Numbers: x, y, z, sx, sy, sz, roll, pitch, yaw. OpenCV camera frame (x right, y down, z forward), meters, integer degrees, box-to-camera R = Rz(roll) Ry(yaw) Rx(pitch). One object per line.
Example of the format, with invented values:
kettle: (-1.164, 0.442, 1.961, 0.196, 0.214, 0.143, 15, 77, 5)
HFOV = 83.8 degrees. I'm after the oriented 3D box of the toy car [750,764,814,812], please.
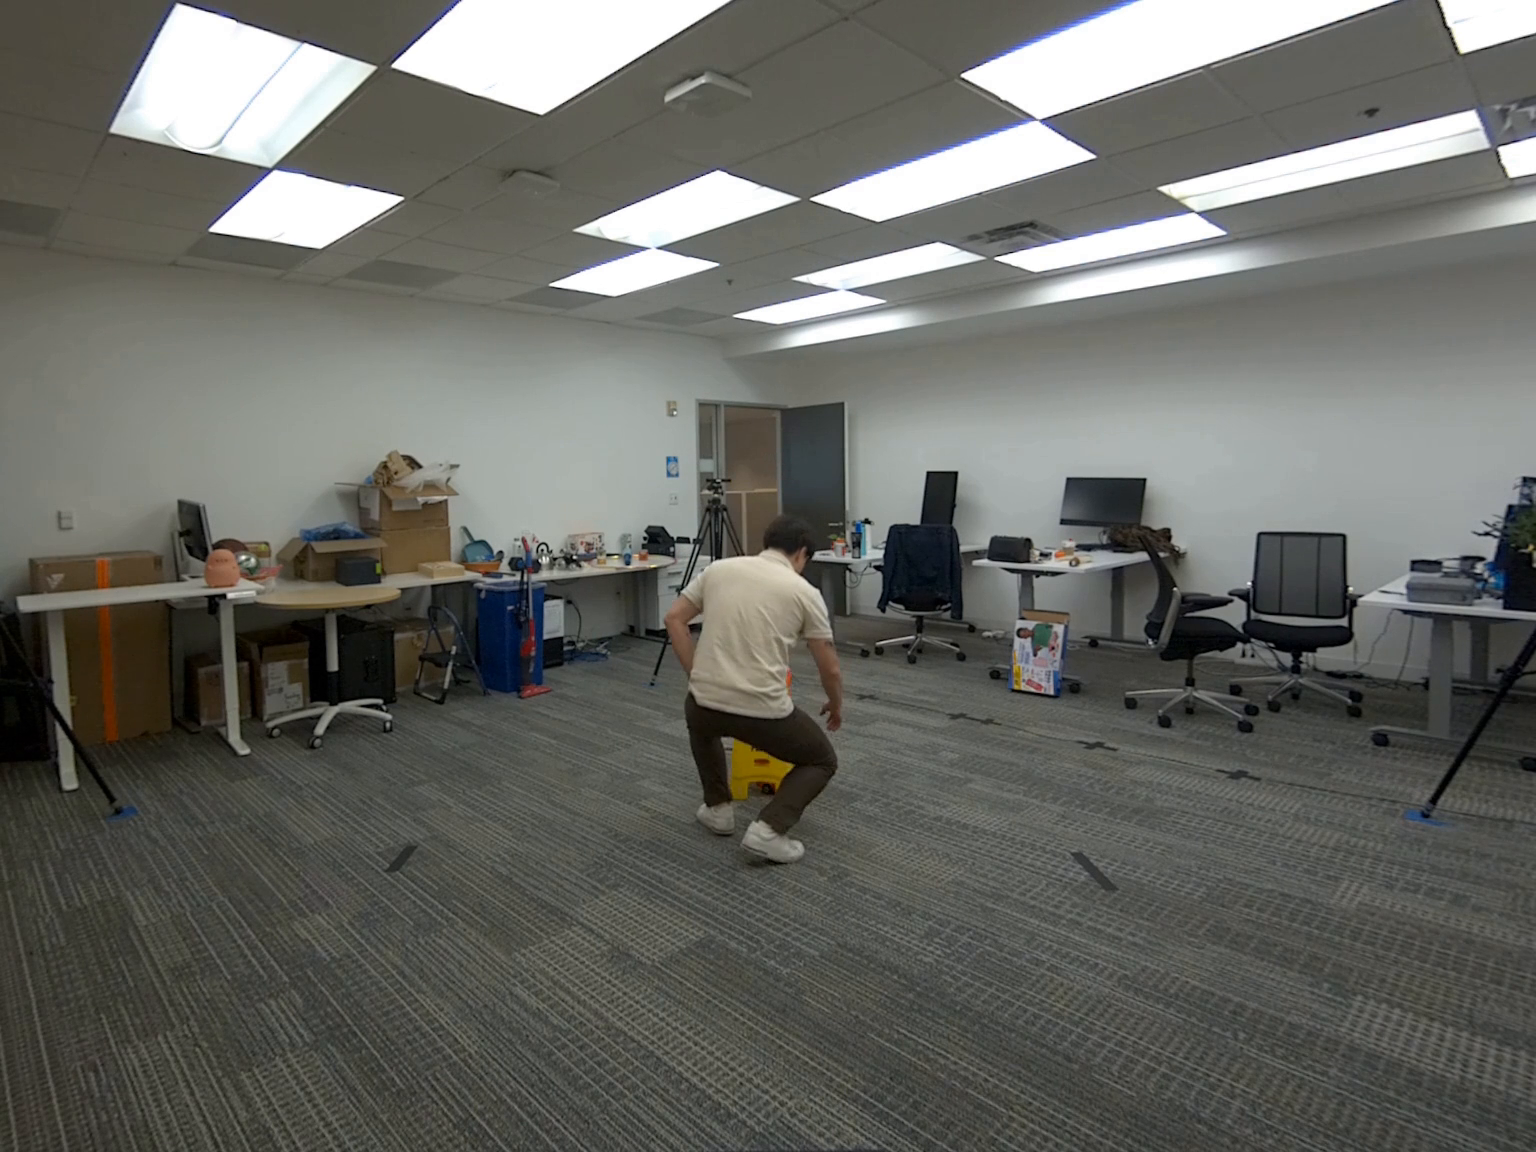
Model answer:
toy car: (0.068, 0.940, 3.817, 0.261, 0.082, 0.128, 15, 11, 21)
